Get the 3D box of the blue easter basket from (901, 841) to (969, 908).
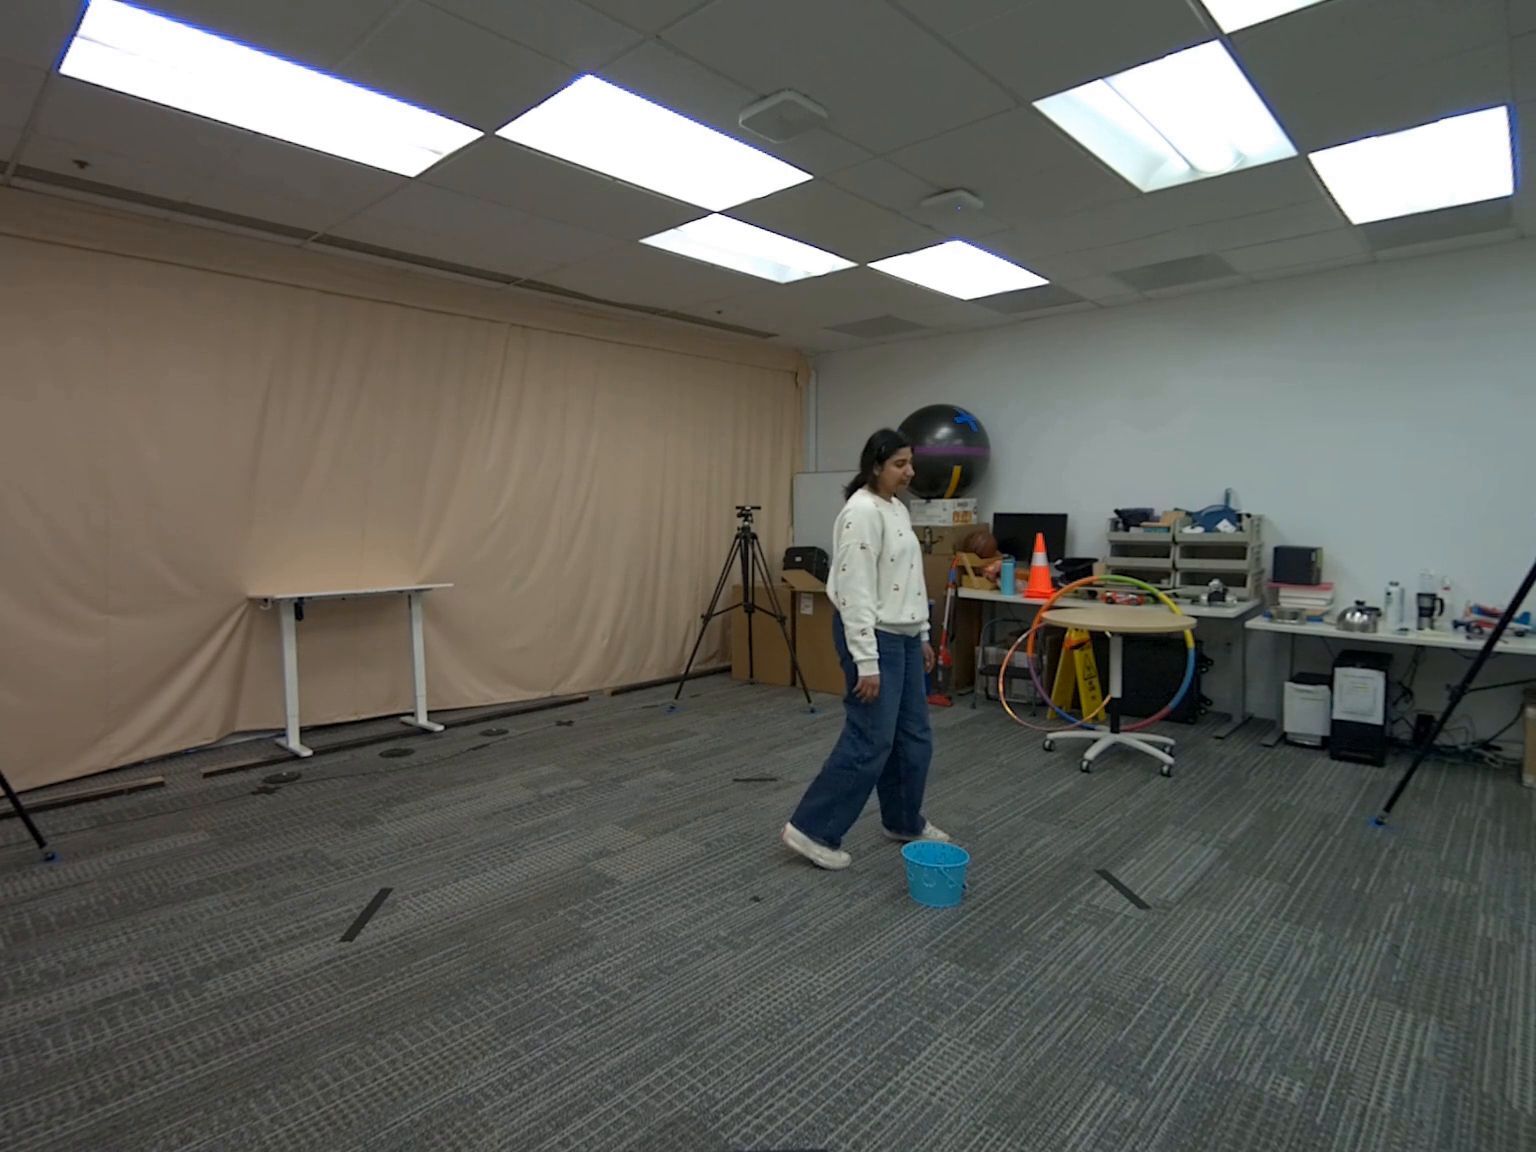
[{"bbox_3d":[0.593,1.058,2.999,0.243,0.155,0.244,0,4,-2],"label":"blue easter basket"}]
